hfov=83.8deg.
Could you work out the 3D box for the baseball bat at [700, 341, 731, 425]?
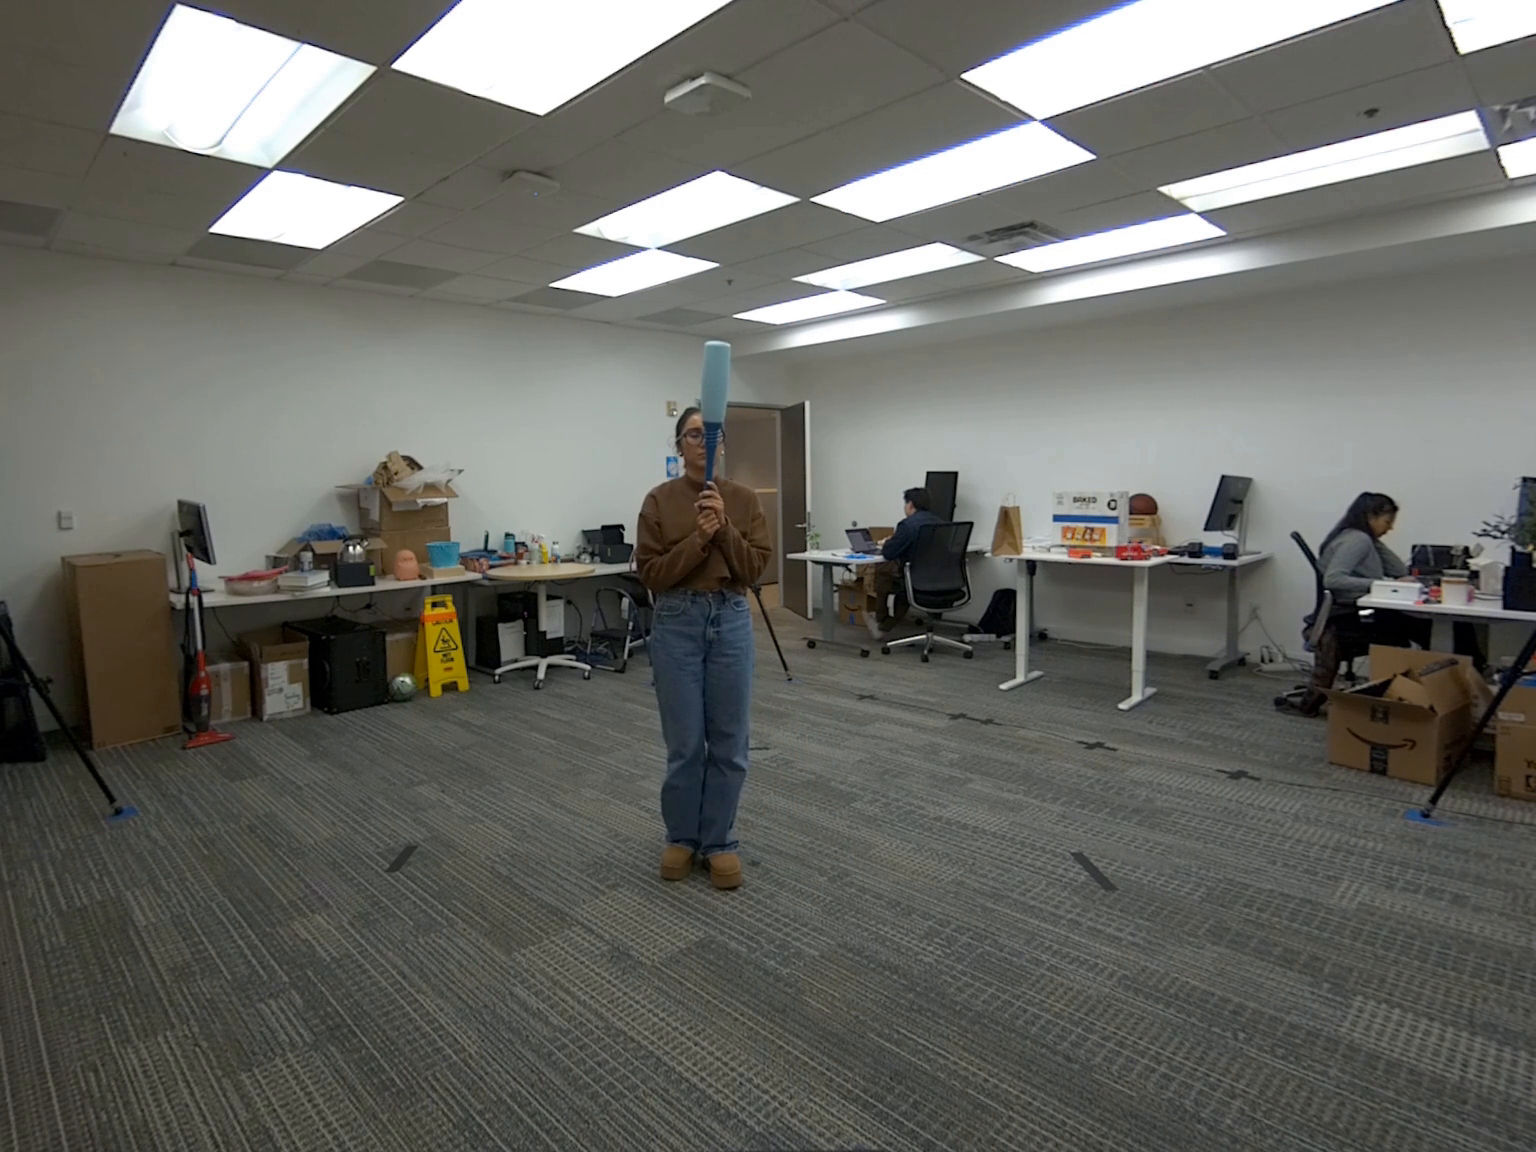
[{"bbox_3d":[-0.181,-0.482,2.757,0.089,0.536,0.090,3,14,-3],"label":"baseball bat"}]
